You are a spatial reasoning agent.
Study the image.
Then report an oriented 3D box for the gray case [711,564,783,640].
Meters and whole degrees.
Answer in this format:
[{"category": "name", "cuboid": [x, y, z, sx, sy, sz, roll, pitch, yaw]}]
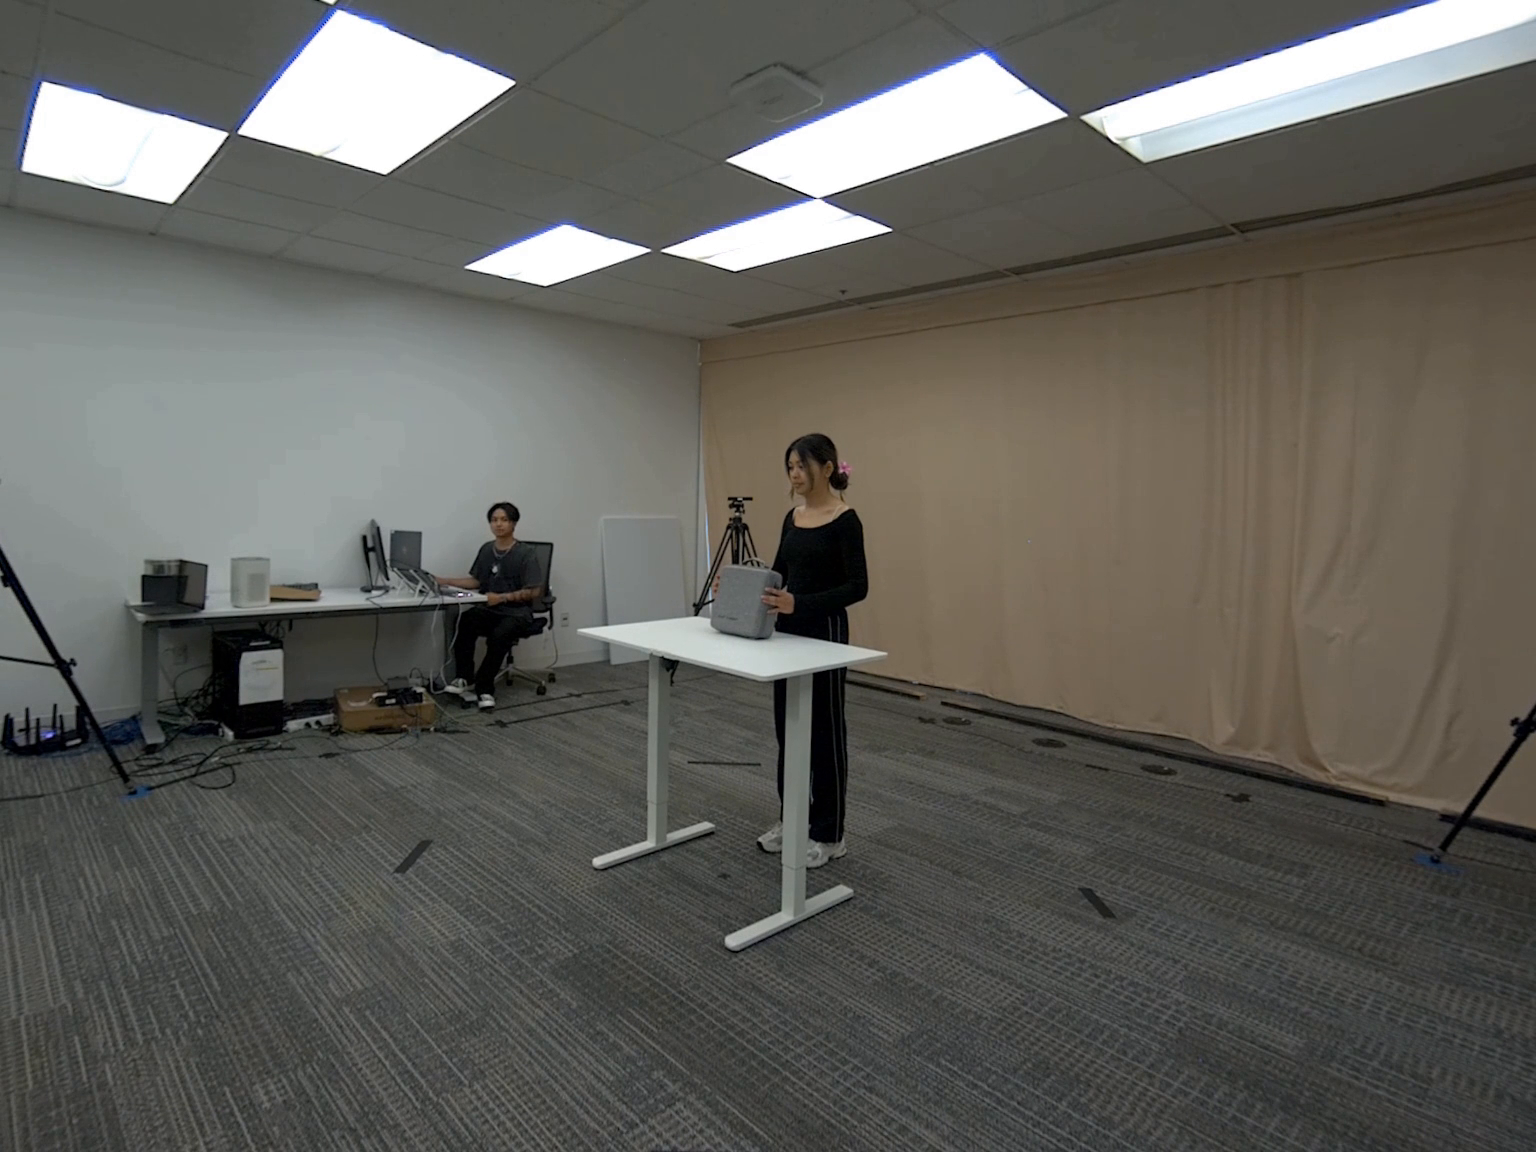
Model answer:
[{"category": "gray case", "cuboid": [-0.089, 0.091, 3.135, 0.264, 0.261, 0.101, 7, -6, 45]}]
